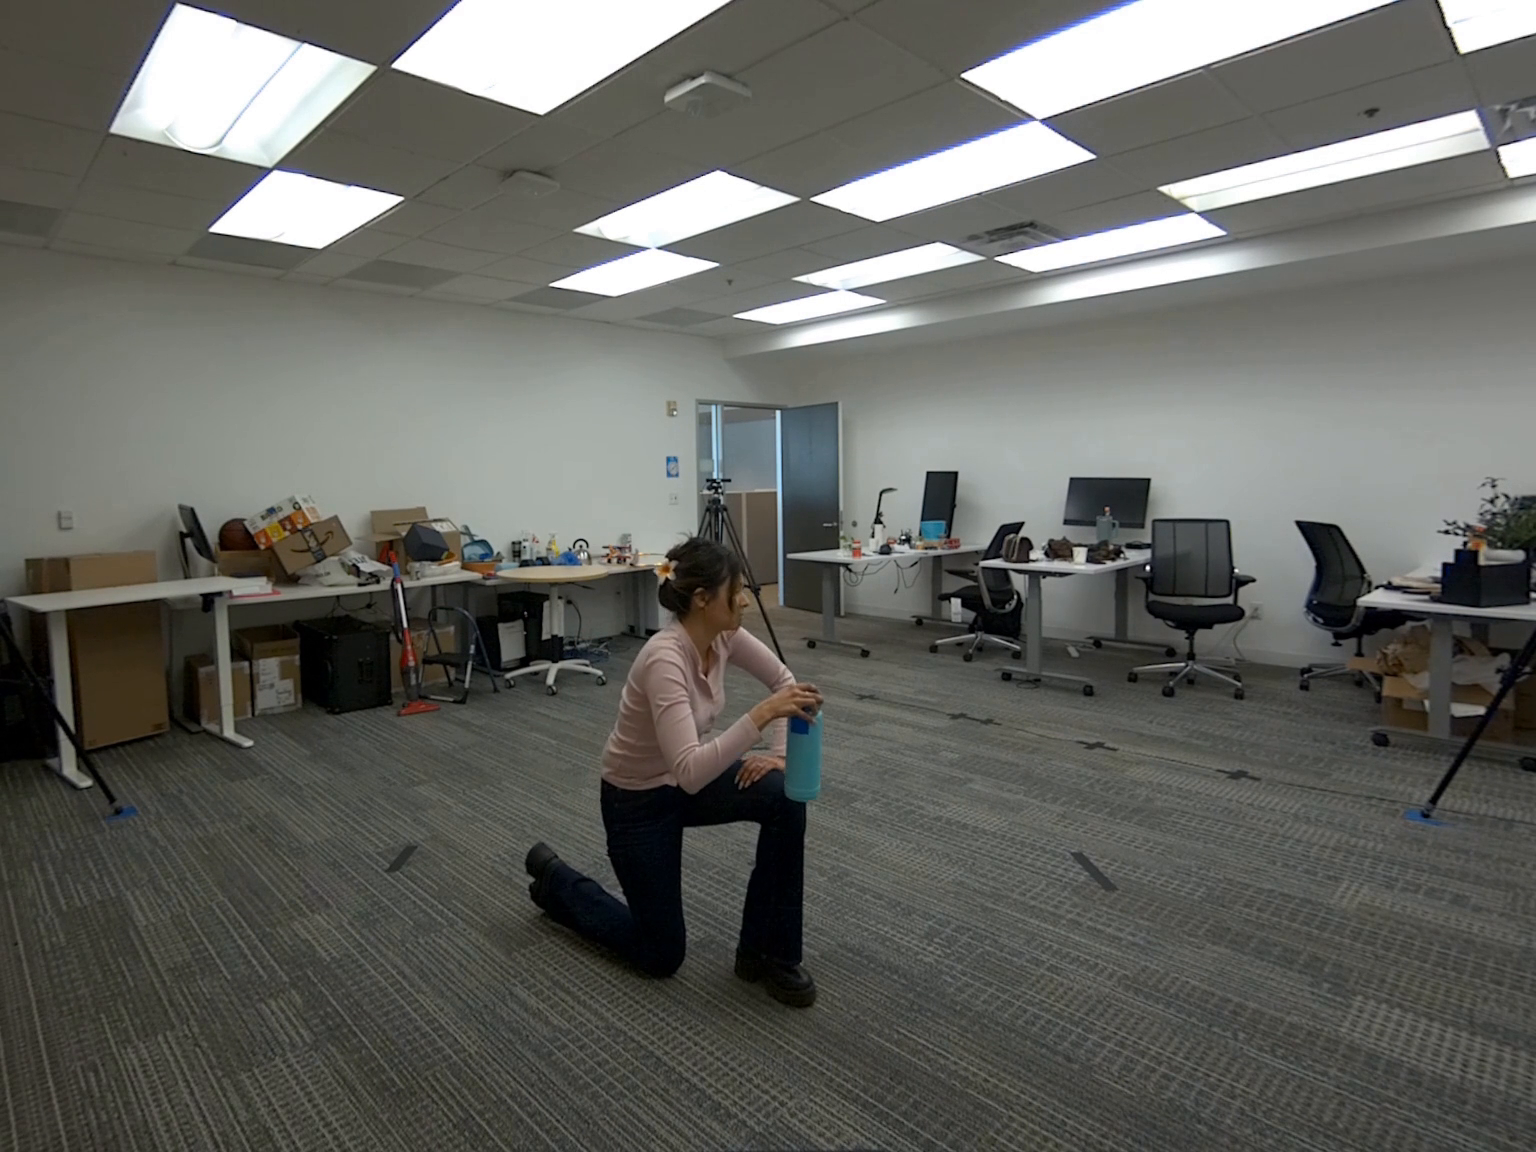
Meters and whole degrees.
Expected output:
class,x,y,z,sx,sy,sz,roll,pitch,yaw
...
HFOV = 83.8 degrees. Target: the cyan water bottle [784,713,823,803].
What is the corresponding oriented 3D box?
class,x,y,z,sx,sy,sz,roll,pitch,yaw
cyan water bottle,0.087,0.414,2.164,0.092,0.282,0.093,3,6,-2
